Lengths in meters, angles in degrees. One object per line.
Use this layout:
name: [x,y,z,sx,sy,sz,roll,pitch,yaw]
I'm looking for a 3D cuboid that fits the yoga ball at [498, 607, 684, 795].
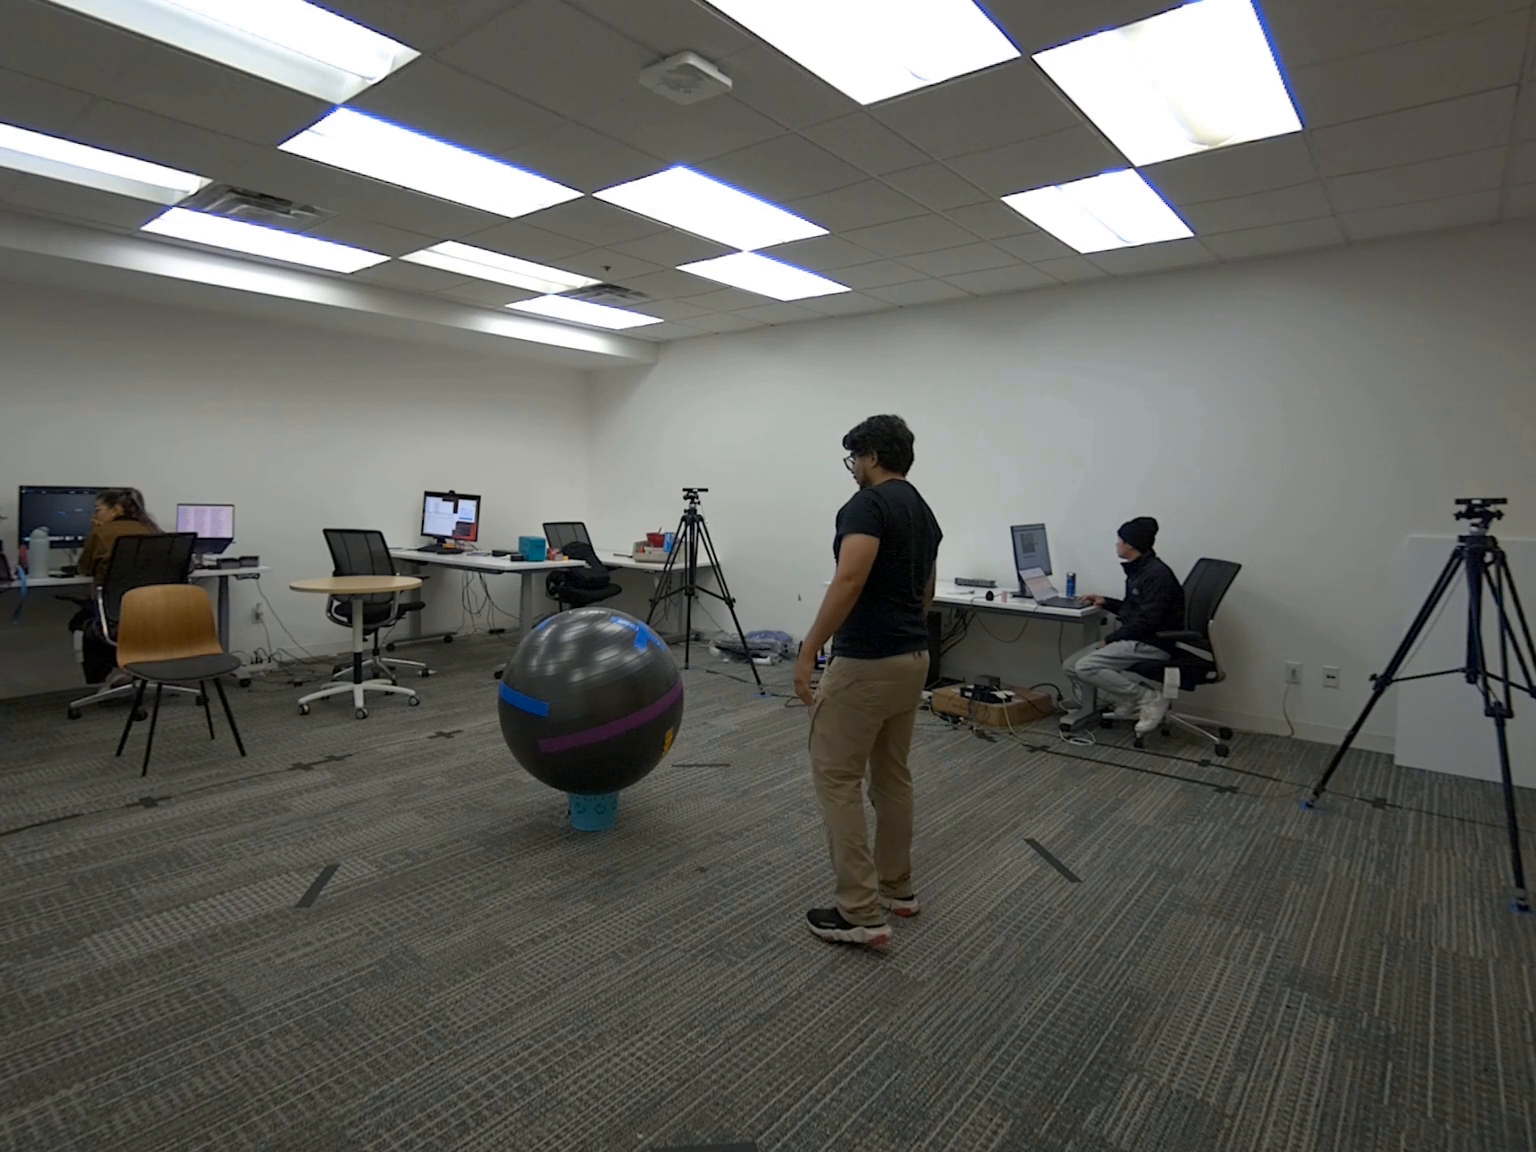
yoga ball: [-0.746,0.514,3.509,0.757,0.756,0.761,1,4,-2]
